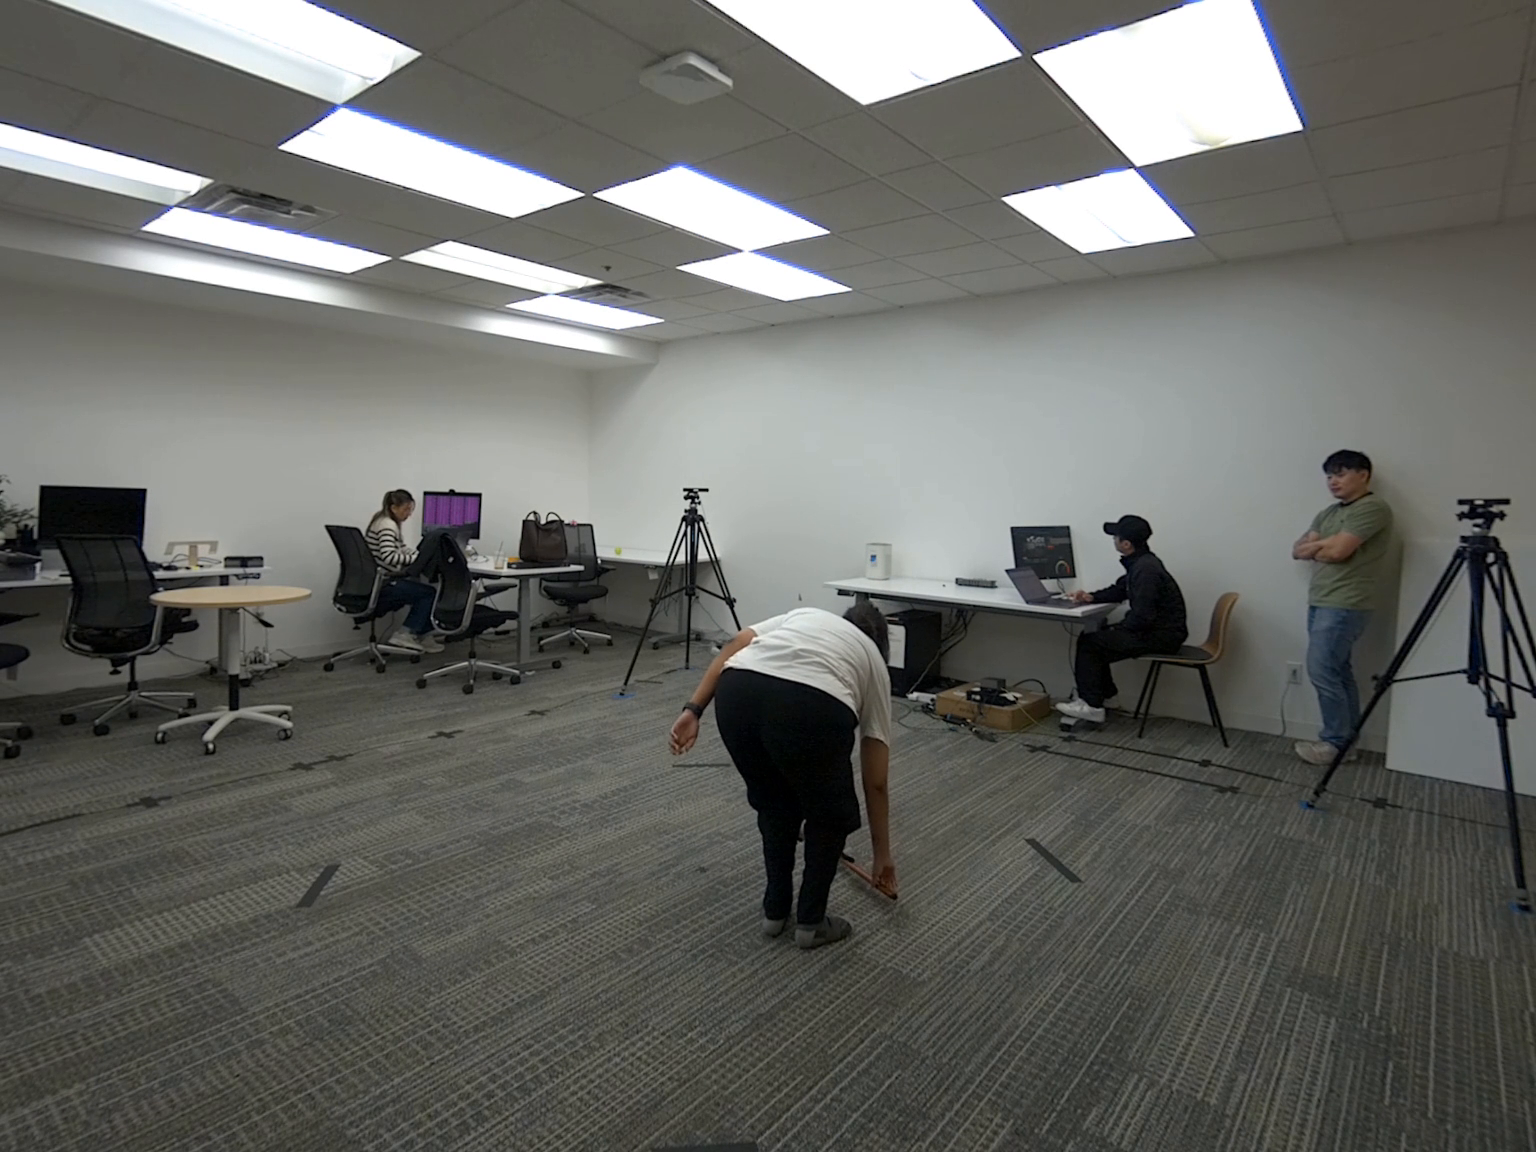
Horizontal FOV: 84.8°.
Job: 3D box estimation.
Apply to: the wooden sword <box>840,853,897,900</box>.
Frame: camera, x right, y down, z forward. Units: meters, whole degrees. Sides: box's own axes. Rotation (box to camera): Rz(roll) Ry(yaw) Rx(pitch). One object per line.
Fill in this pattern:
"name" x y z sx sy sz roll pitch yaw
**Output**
"wooden sword" 0.192 1.019 3.286 0.023 0.051 1.051 0 3 -26
